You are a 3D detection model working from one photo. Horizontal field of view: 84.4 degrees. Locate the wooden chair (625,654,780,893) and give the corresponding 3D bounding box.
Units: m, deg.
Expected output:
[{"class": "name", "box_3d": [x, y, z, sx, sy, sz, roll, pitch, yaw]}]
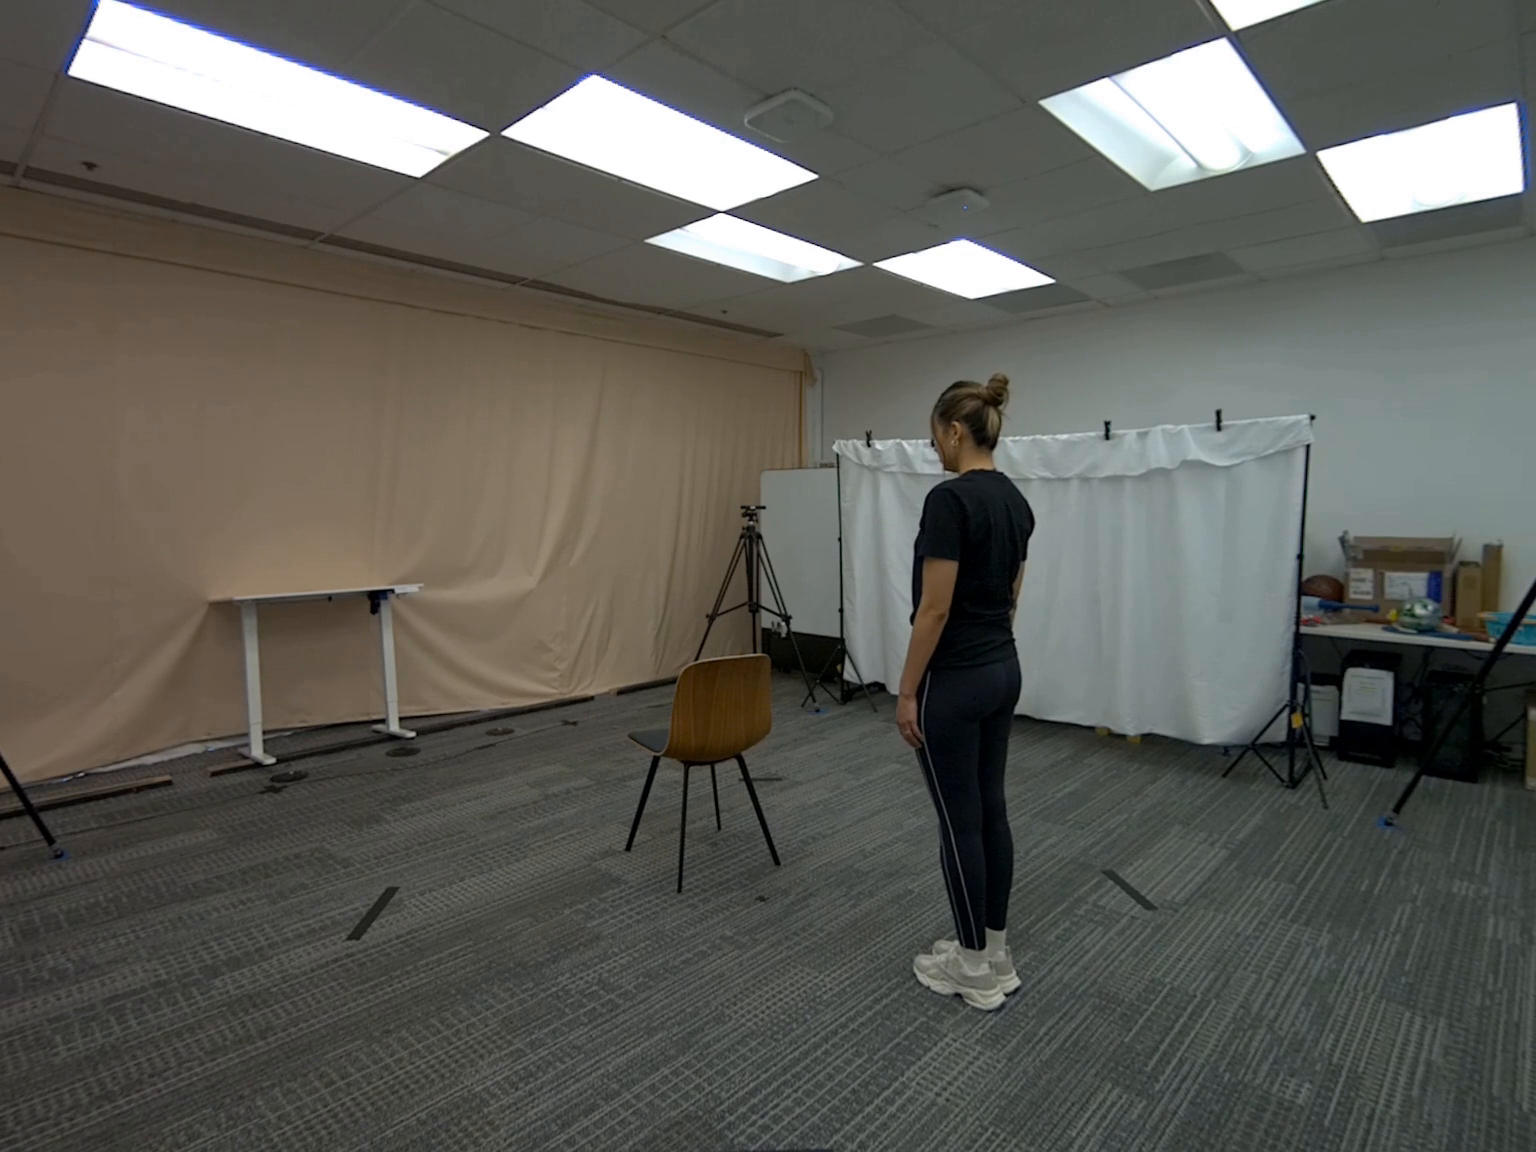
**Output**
[{"class": "wooden chair", "box_3d": [-0.274, 0.691, 3.312, 0.465, 0.874, 0.540, -2, 8, -33]}]
